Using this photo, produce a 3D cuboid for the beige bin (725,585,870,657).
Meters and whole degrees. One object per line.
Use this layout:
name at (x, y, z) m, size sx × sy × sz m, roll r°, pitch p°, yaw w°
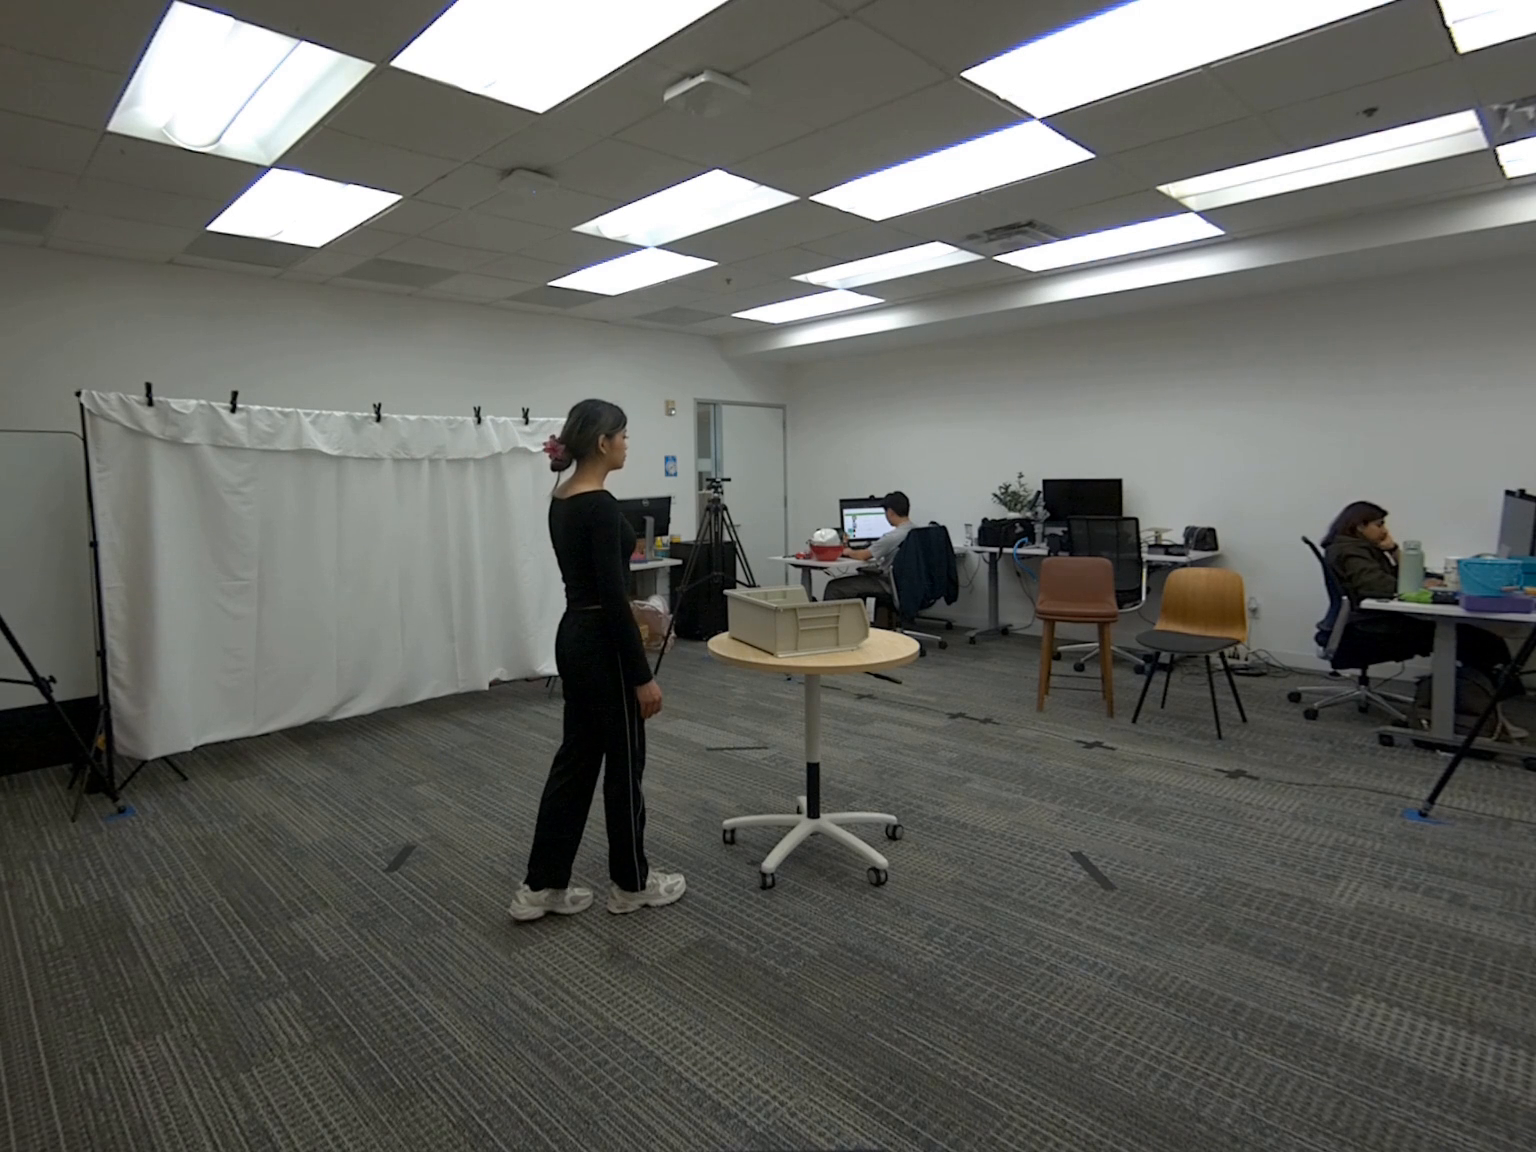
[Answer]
beige bin at (0.097, 0.156, 3.112) m, size 0.370 × 0.188 × 0.433 m, roll -5°, pitch 8°, yaw -25°
